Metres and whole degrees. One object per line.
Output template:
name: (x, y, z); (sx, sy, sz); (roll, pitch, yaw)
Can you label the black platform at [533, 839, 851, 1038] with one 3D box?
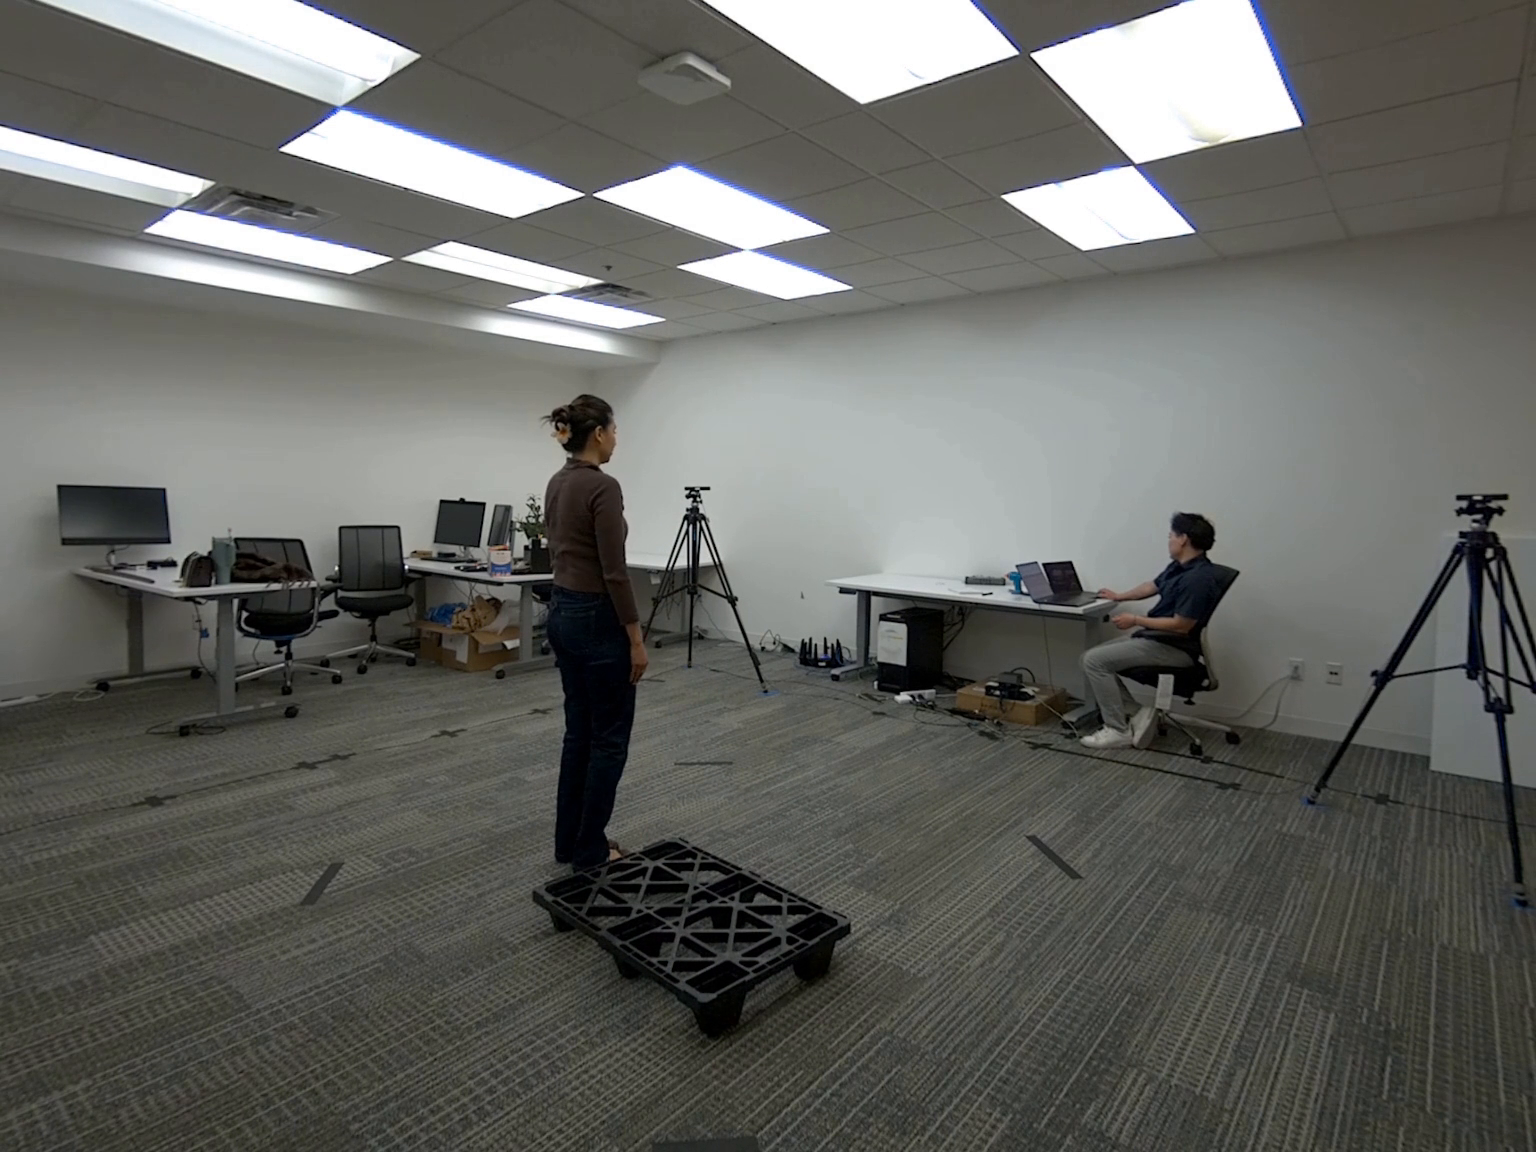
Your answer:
black platform: (-0.254, 1.053, 2.571); (0.833, 0.143, 0.587); (7, 8, 44)
